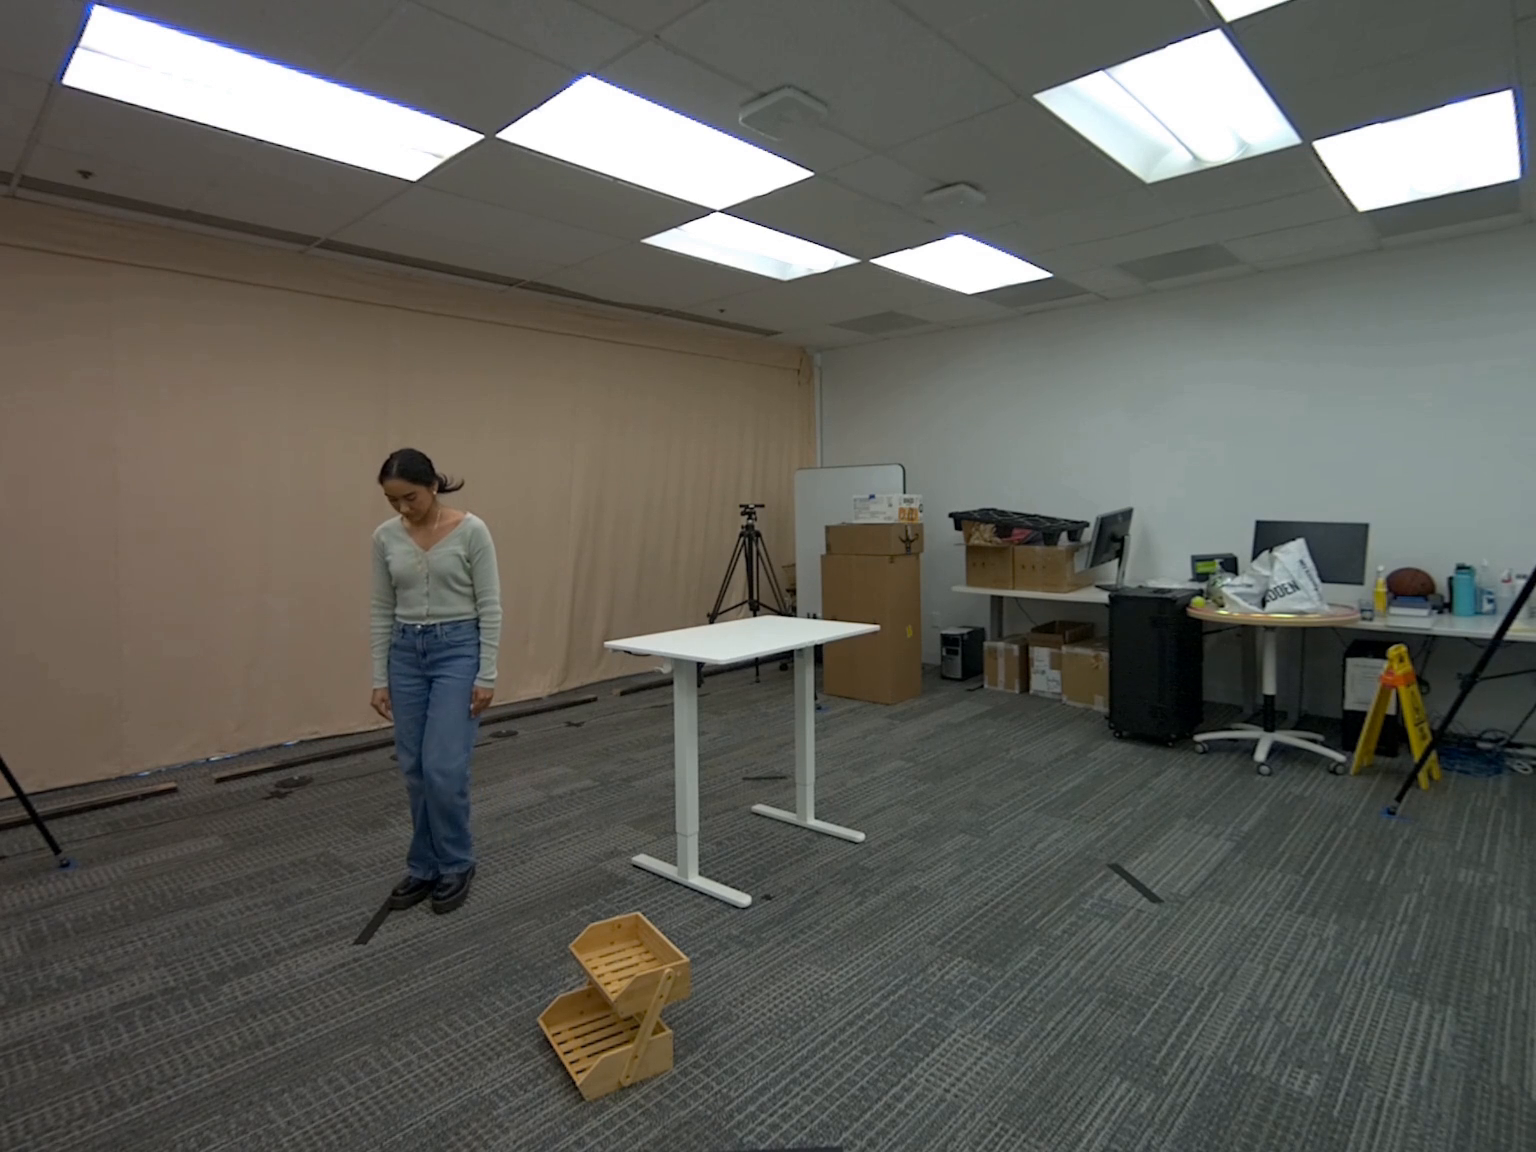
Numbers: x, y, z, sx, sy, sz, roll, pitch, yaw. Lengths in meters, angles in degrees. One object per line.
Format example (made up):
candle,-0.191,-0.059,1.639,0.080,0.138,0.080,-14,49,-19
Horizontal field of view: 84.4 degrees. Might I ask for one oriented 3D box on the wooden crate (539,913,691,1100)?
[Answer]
wooden crate,-0.403,1.086,2.157,0.293,0.273,0.334,-2,3,-33
